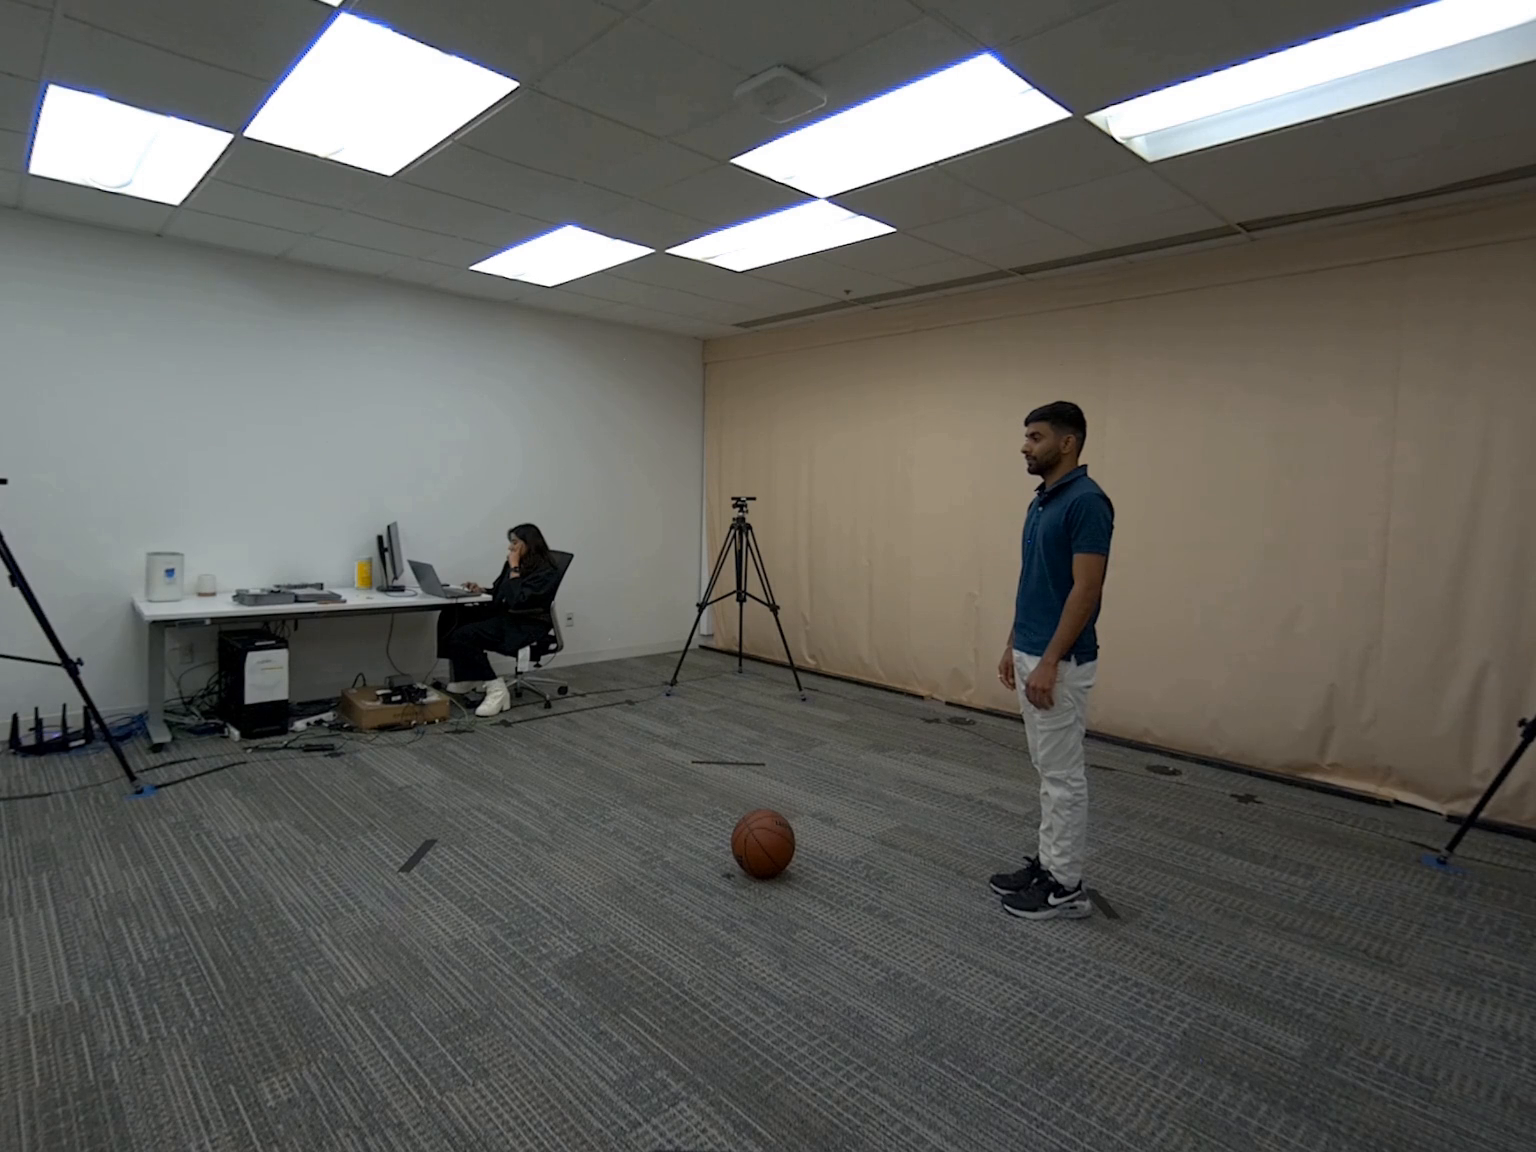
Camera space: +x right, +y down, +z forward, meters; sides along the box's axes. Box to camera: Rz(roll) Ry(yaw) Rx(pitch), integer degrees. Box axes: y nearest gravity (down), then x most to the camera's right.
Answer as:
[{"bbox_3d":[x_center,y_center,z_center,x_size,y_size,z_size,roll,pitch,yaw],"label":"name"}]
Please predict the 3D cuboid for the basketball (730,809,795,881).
[{"bbox_3d":[-0.023,0.983,3.121,0.236,0.235,0.237,1,4,-1],"label":"basketball"}]
